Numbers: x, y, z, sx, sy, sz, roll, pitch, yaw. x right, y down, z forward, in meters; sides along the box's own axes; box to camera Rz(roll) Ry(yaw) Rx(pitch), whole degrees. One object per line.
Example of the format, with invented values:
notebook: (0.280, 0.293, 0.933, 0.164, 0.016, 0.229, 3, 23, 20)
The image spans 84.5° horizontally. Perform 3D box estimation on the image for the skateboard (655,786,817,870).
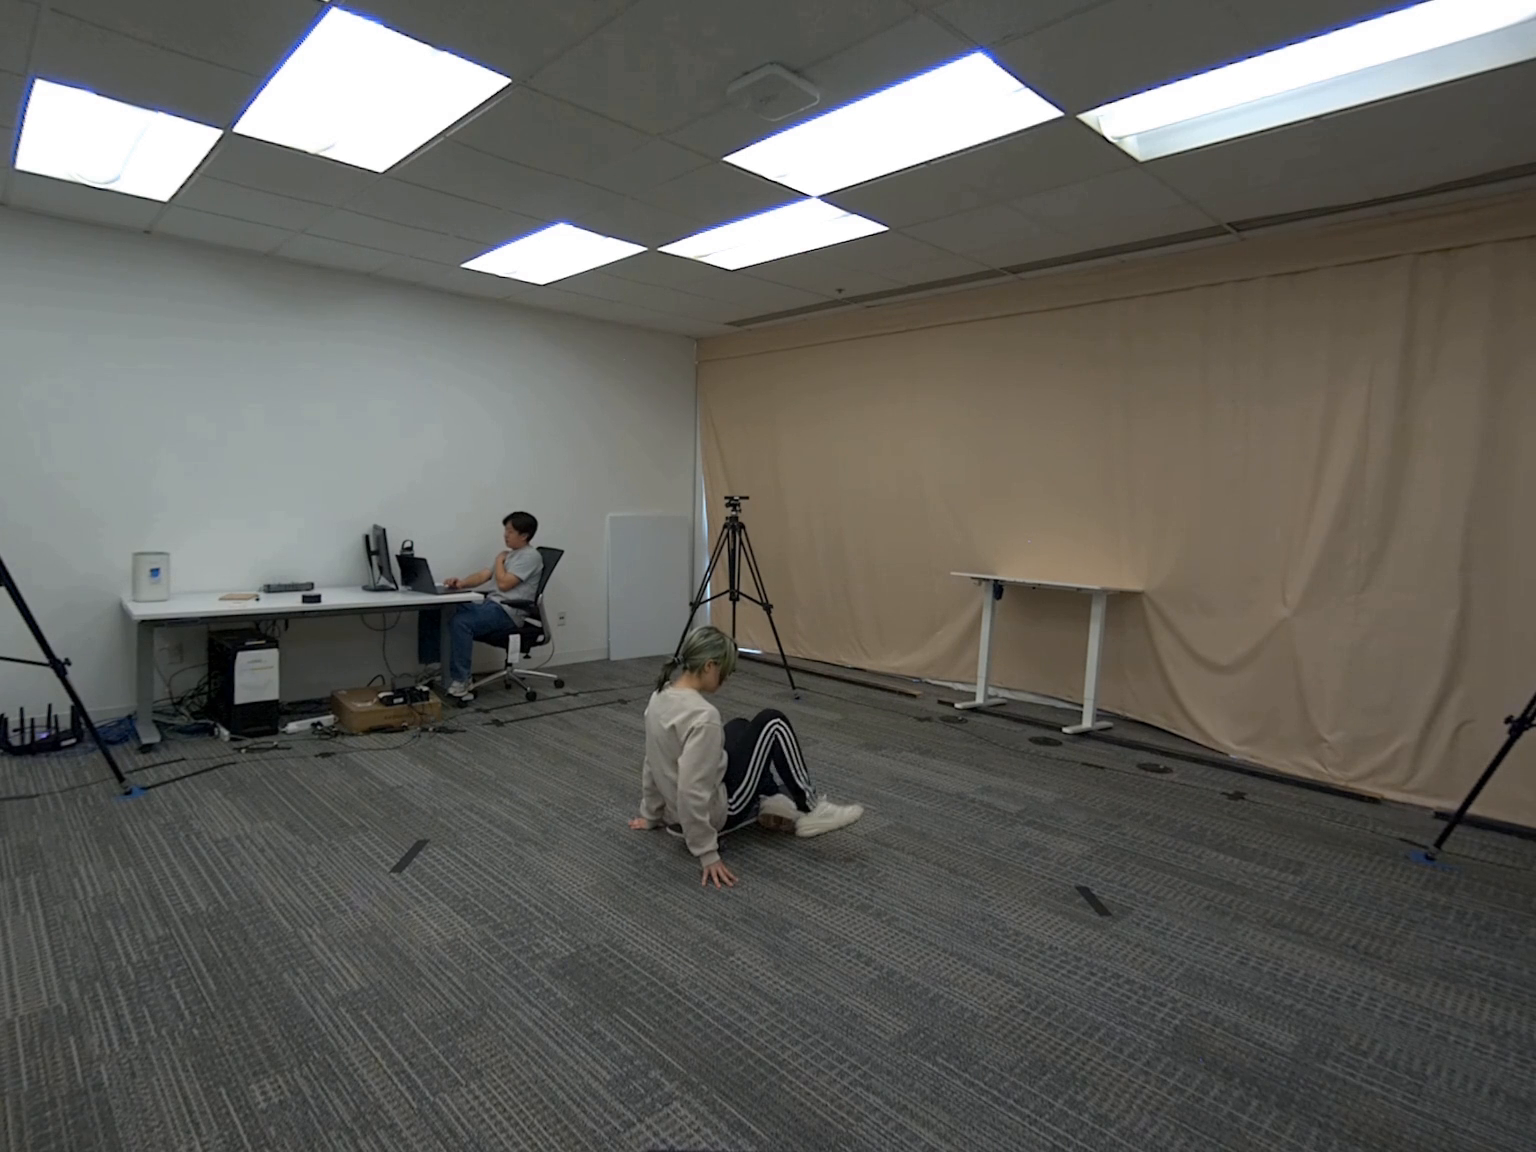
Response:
skateboard: (-0.114, 1.012, 3.525, 0.198, 0.110, 0.768, 3, 6, 41)
